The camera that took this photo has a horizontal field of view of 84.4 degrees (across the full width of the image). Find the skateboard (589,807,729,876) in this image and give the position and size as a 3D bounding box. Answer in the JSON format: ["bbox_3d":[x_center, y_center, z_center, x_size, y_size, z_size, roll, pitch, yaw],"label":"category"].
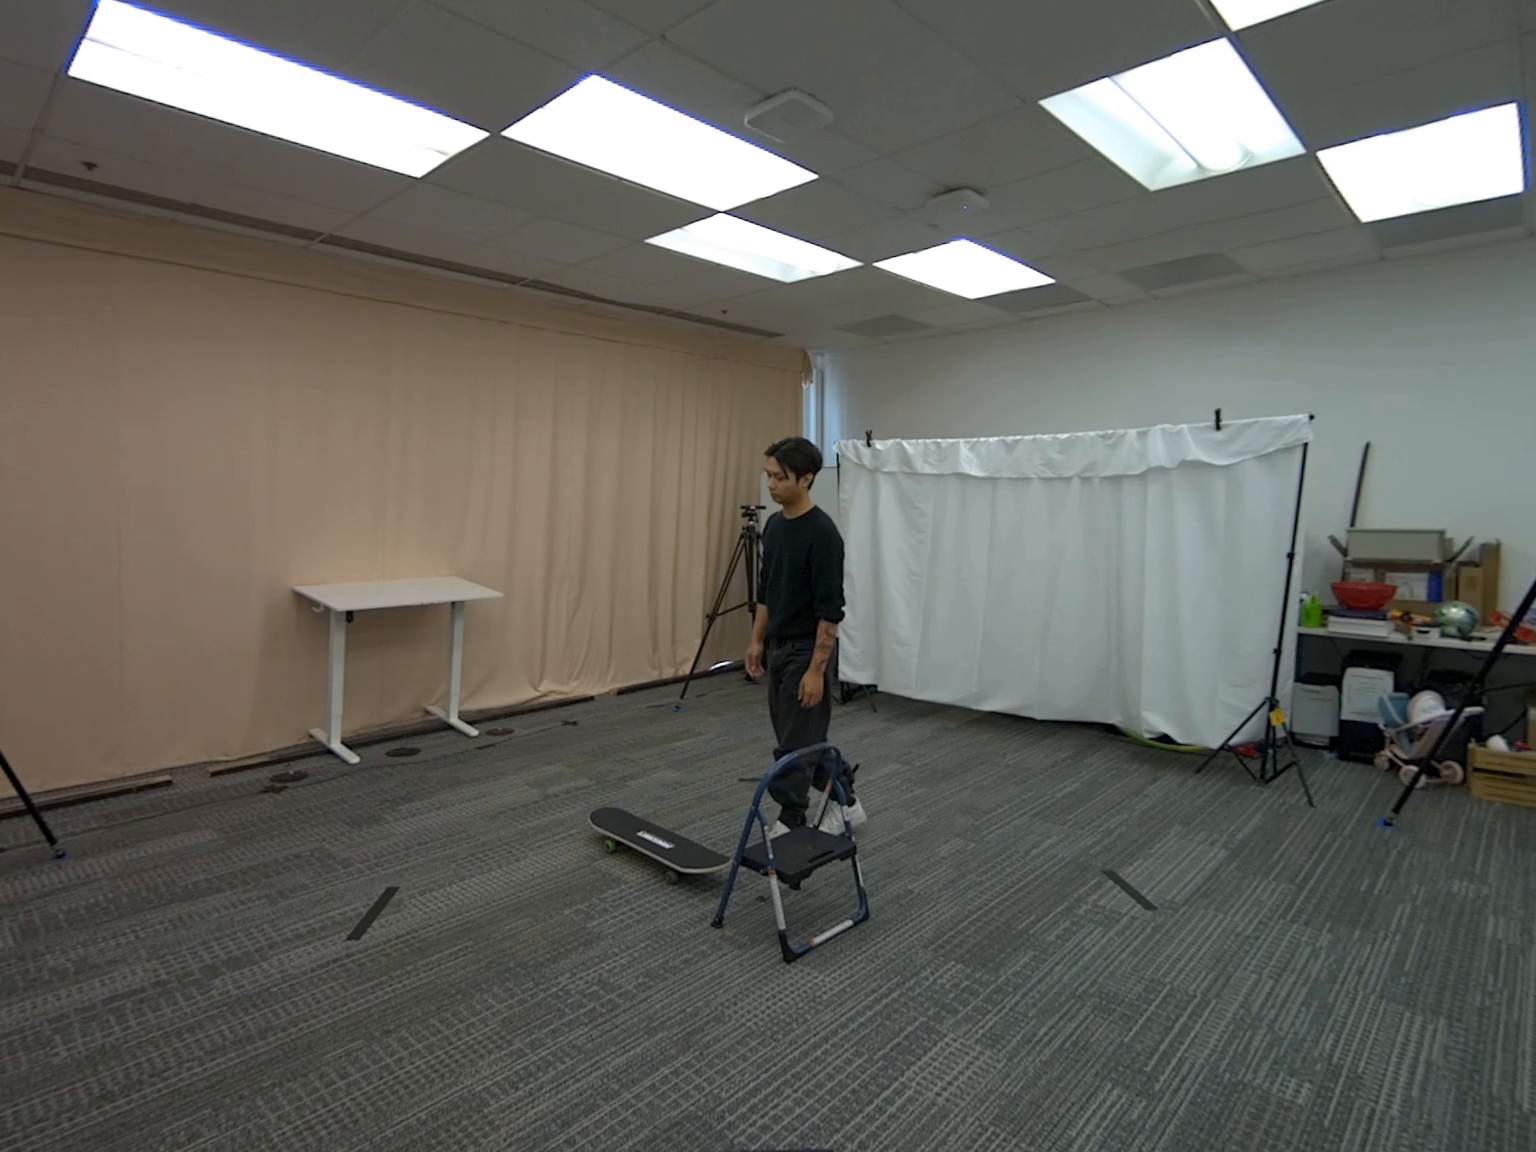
[{"bbox_3d":[-0.448,1.069,3.306,0.187,0.110,0.812,-4,6,-43],"label":"skateboard"}]
